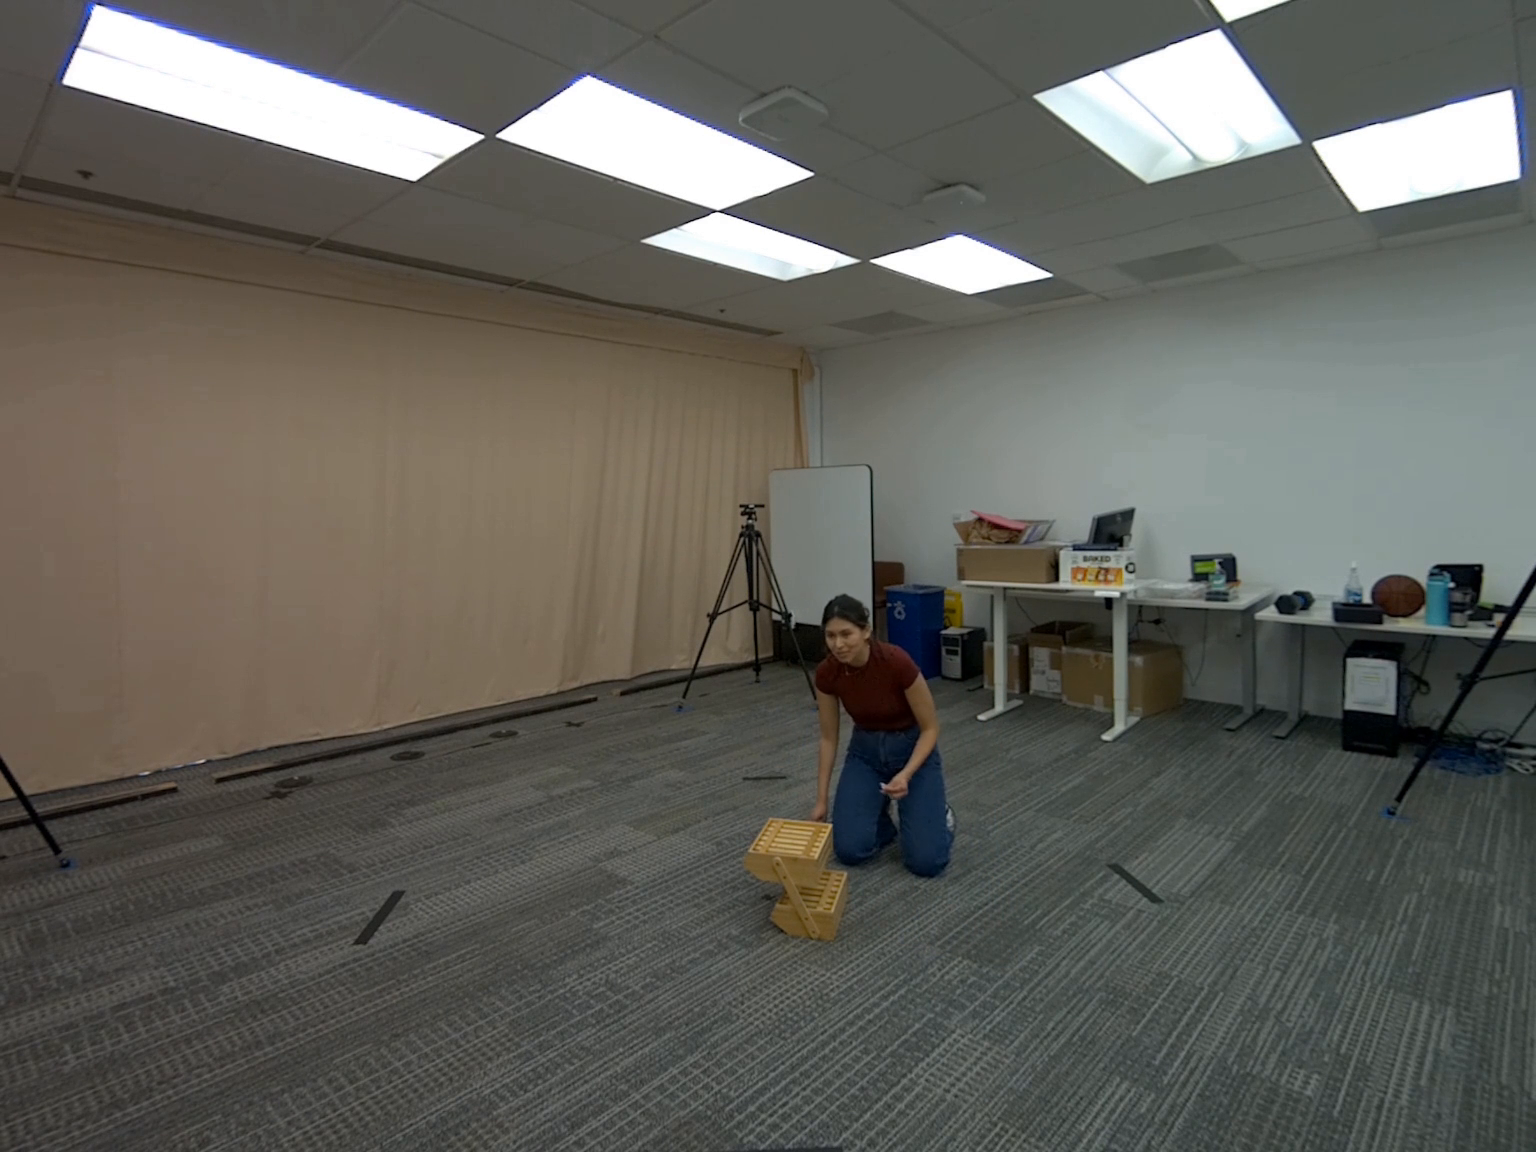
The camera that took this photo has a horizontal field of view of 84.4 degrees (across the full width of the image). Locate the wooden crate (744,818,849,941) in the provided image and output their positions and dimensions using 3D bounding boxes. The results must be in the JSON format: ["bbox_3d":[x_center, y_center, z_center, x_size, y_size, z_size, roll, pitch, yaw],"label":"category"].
[{"bbox_3d":[0.103,1.021,2.859,0.307,0.273,0.319,0,4,16],"label":"wooden crate"}]
